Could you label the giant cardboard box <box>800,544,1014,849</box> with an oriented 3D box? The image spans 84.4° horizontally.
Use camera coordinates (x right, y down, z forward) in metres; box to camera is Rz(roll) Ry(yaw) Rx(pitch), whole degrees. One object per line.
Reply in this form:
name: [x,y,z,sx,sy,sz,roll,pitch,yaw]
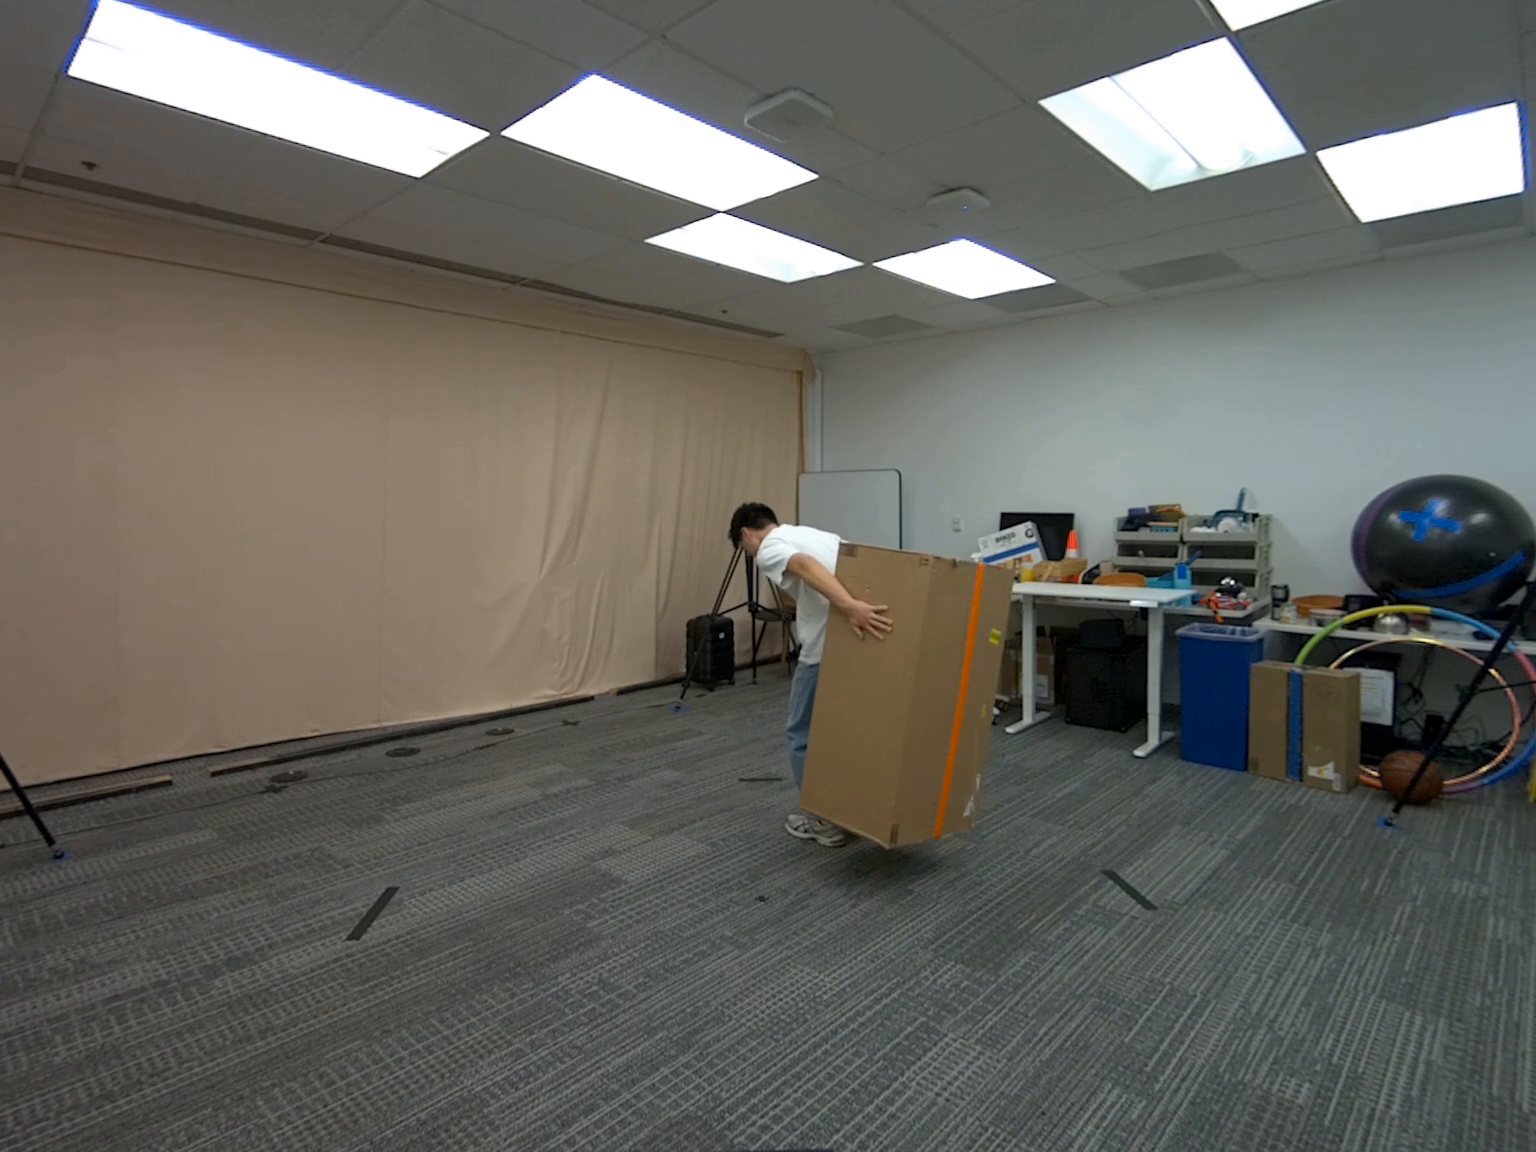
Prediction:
giant cardboard box: [0.551,0.421,3.205,0.441,1.025,0.558,9,1,45]
